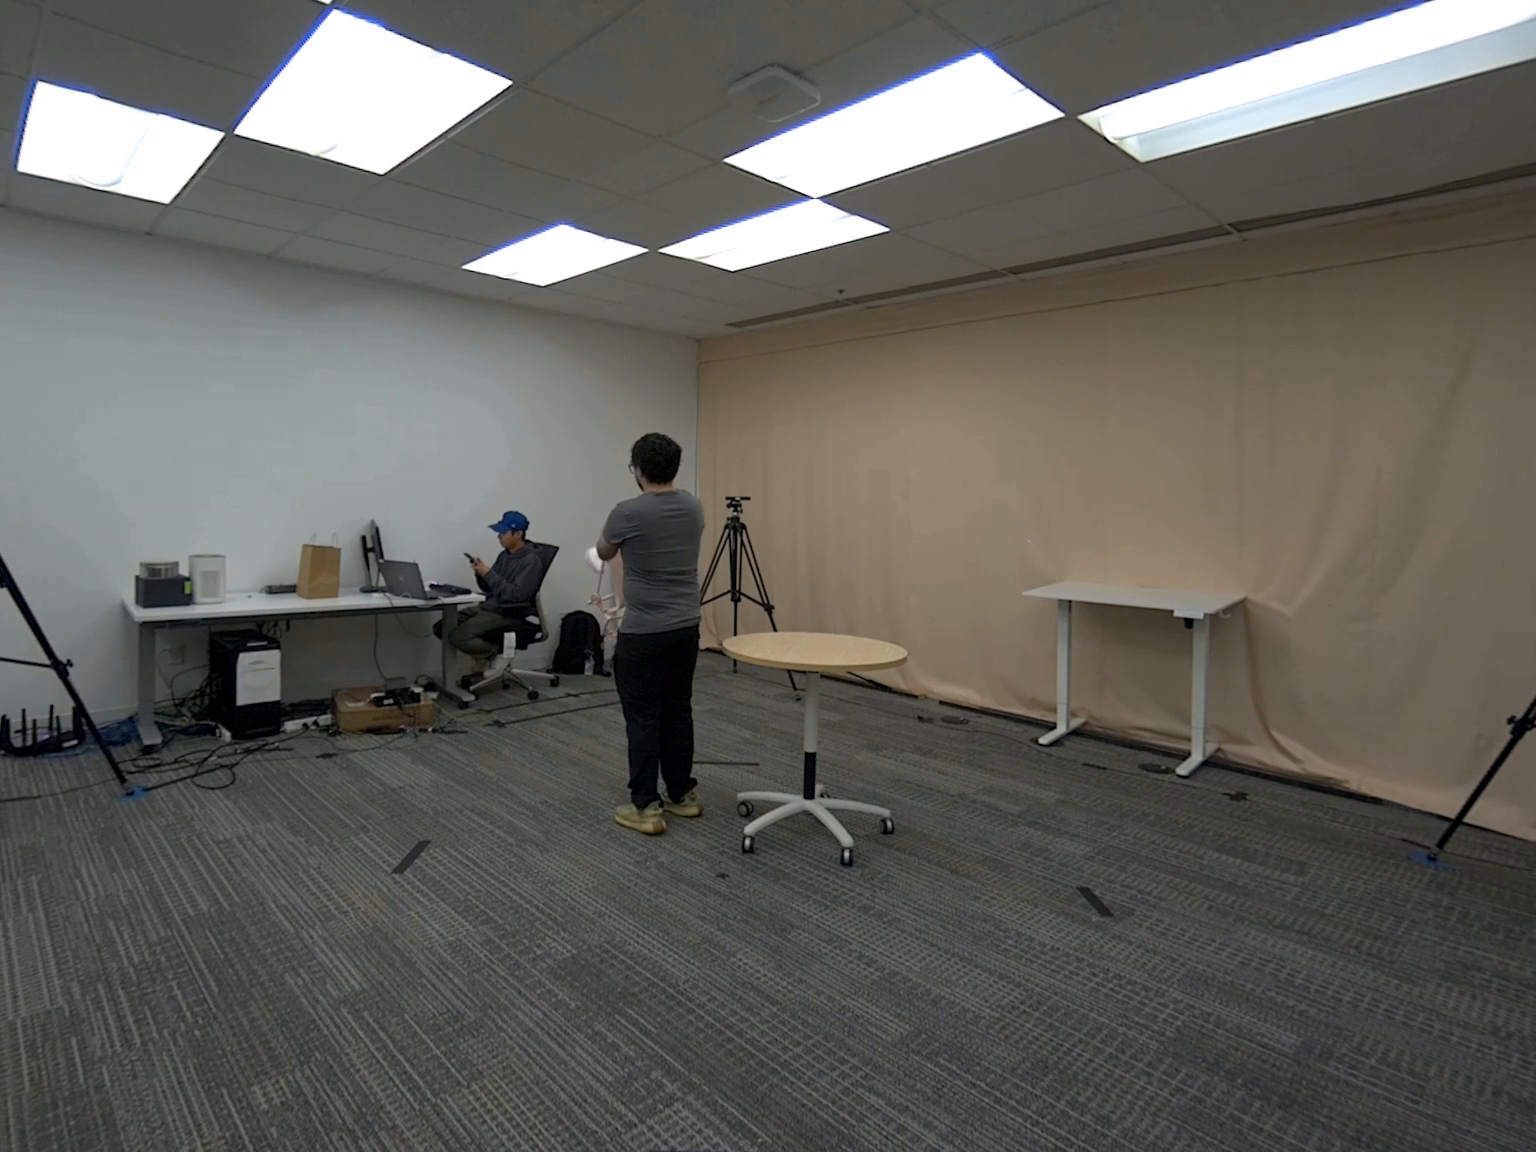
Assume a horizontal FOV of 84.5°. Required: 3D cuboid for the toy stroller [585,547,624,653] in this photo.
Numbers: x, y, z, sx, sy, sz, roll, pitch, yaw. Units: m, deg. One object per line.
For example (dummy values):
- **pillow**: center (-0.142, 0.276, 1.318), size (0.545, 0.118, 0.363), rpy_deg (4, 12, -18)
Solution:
- **toy stroller**: center (-0.734, 0.064, 4.059), size (0.345, 0.537, 0.277), rpy_deg (-25, -4, 32)
